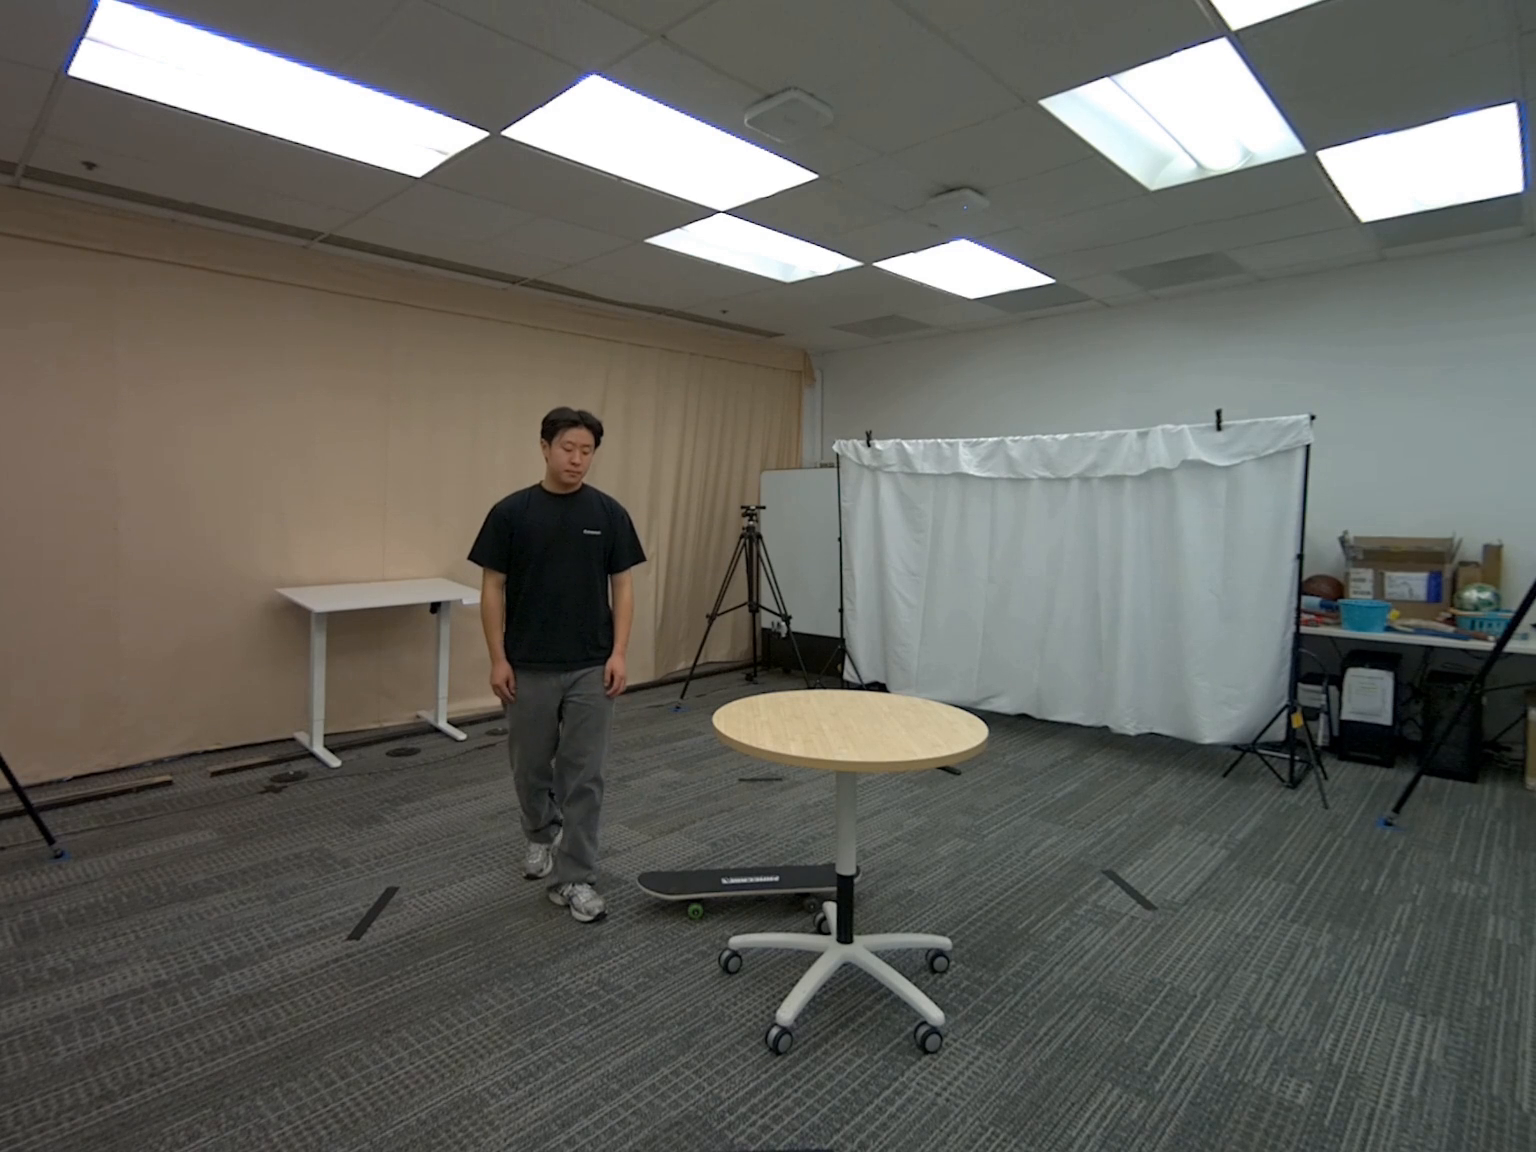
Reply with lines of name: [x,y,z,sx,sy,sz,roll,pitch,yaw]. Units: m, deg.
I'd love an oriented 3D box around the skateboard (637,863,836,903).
skateboard: [-0.059,1.093,2.936,0.779,0.110,0.195,0,5,-7]
